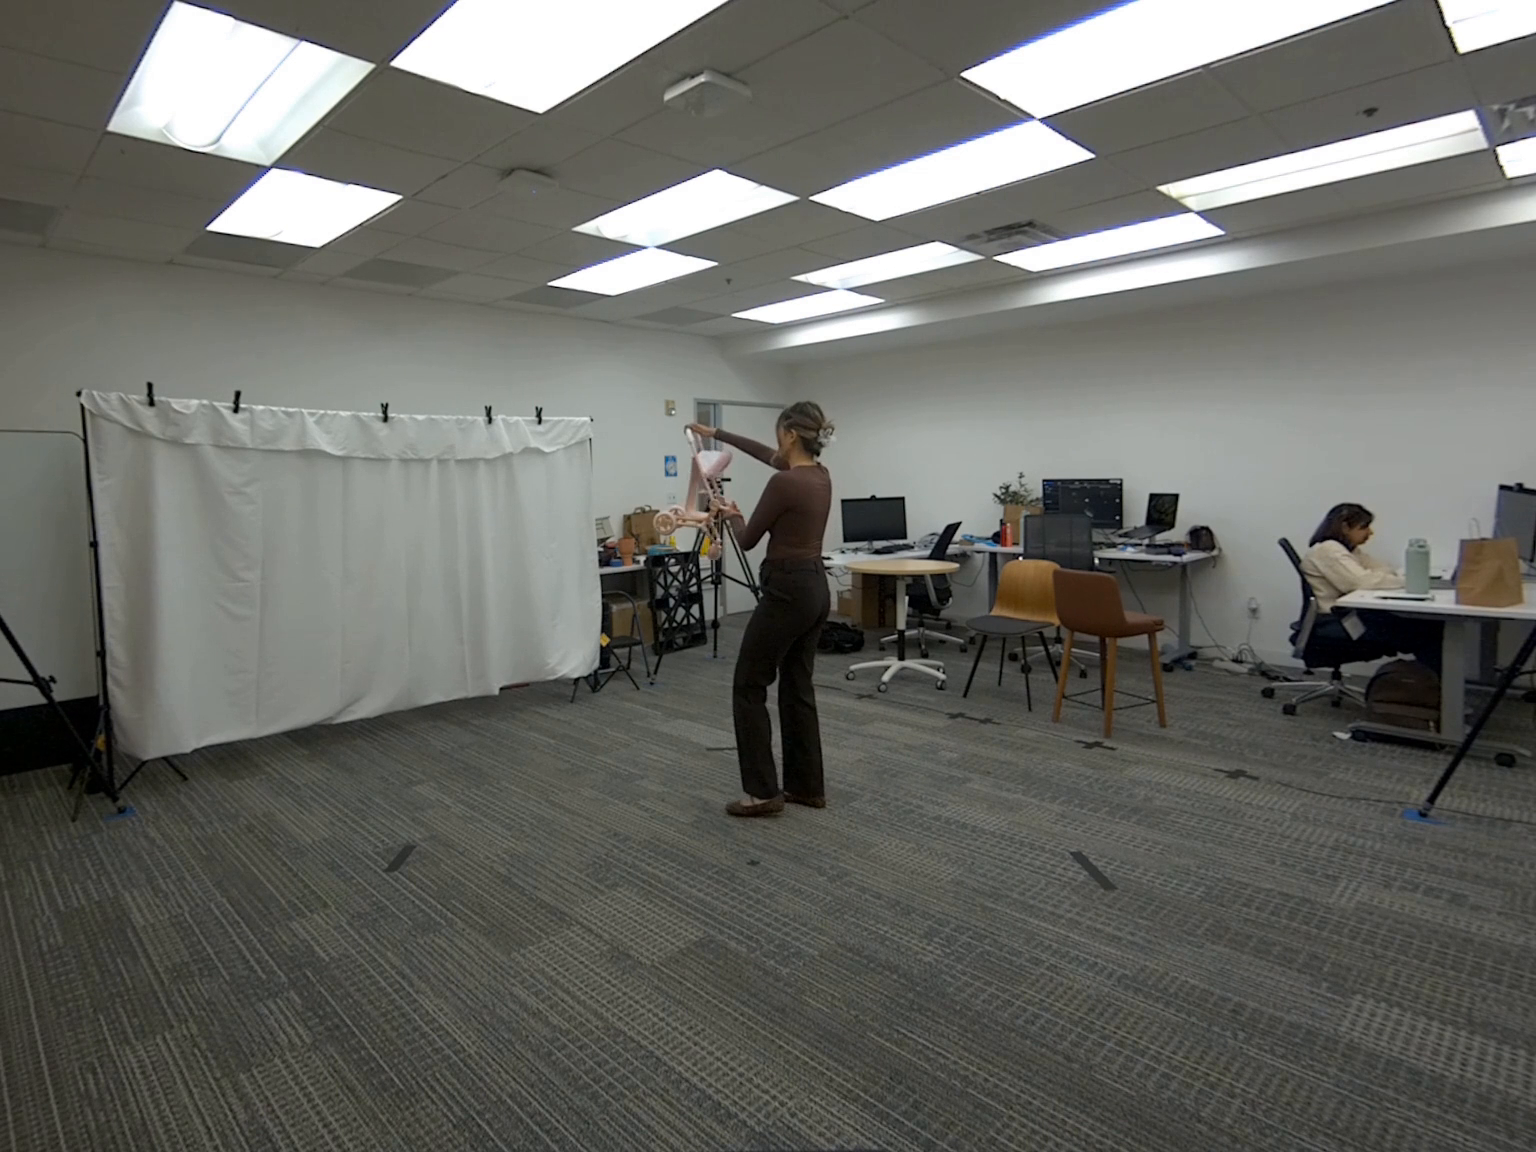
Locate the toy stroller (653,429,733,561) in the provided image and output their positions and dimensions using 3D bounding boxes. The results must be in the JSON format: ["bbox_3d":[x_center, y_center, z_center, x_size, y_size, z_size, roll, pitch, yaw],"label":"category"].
[{"bbox_3d":[-0.288,-0.365,3.916,0.345,0.532,0.280,21,9,8],"label":"toy stroller"}]
